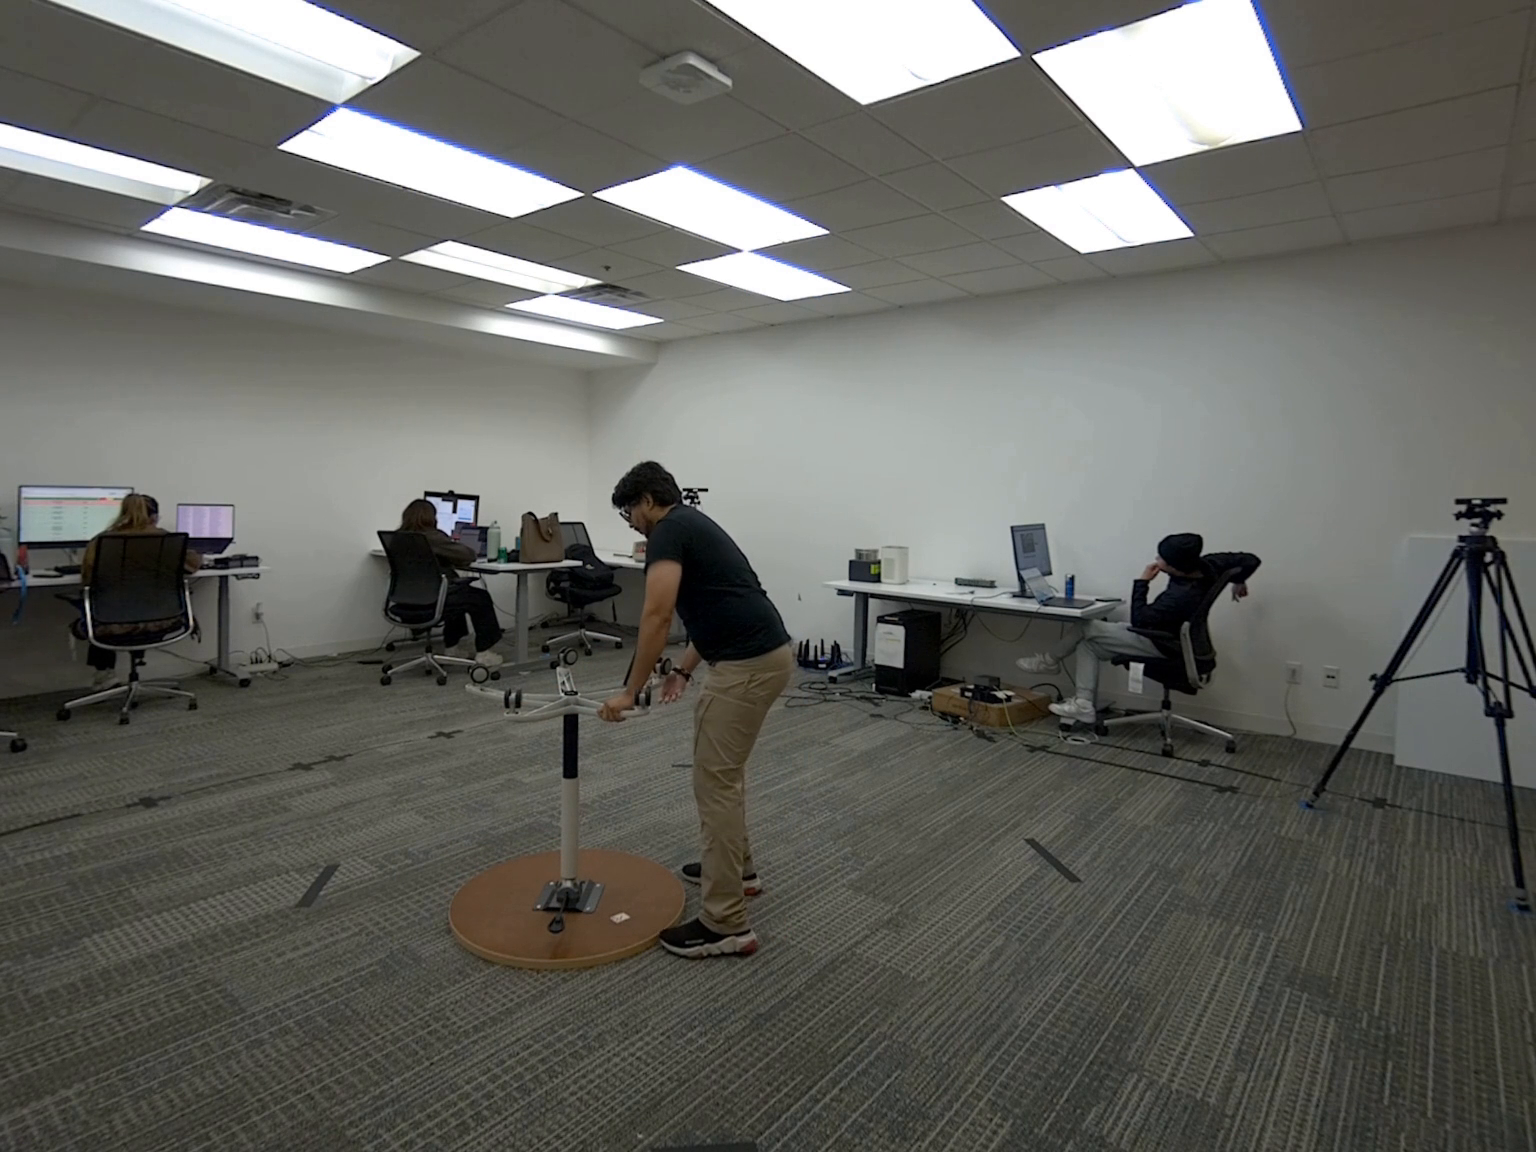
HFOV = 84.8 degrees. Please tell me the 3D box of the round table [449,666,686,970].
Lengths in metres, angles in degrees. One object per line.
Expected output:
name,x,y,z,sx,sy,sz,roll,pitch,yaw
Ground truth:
round table,-0.672,0.696,2.809,0.784,0.784,0.789,1,4,-2
